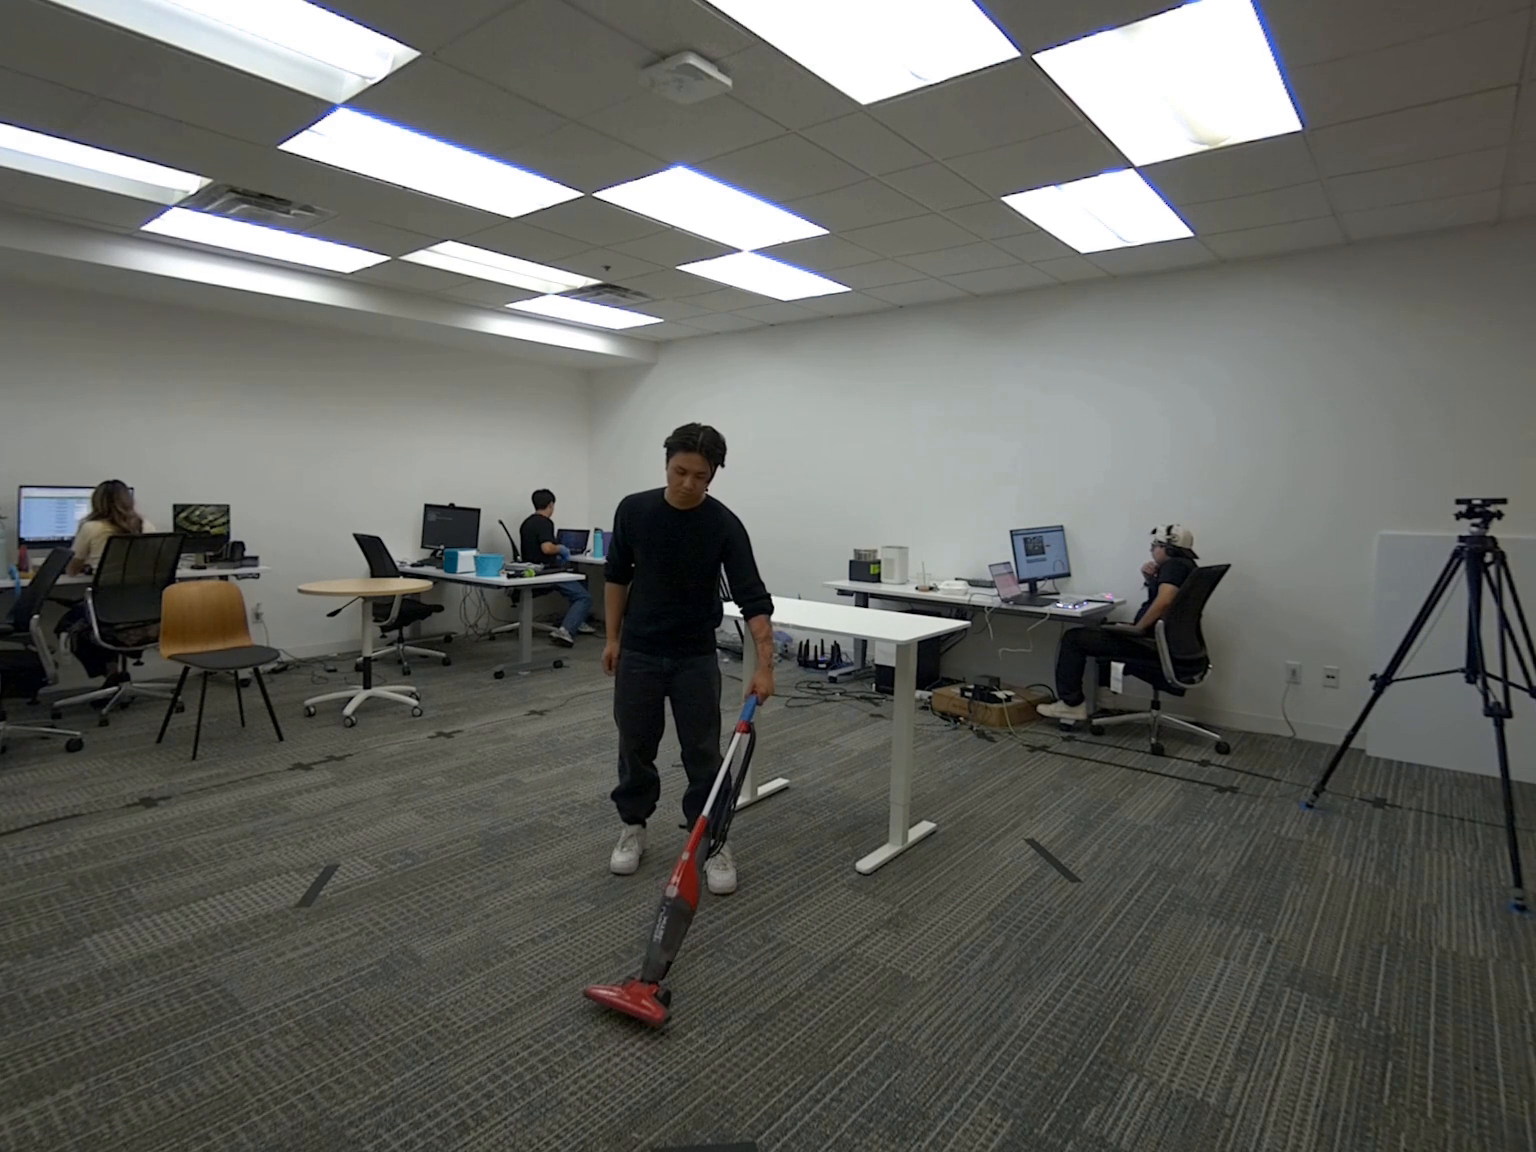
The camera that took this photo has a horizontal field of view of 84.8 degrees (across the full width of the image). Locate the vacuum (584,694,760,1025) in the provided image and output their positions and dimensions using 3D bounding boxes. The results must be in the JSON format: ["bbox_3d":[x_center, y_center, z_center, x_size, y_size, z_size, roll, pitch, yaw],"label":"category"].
[{"bbox_3d":[-0.188,0.760,2.566,0.259,0.139,1.062,4,47,22],"label":"vacuum"}]
